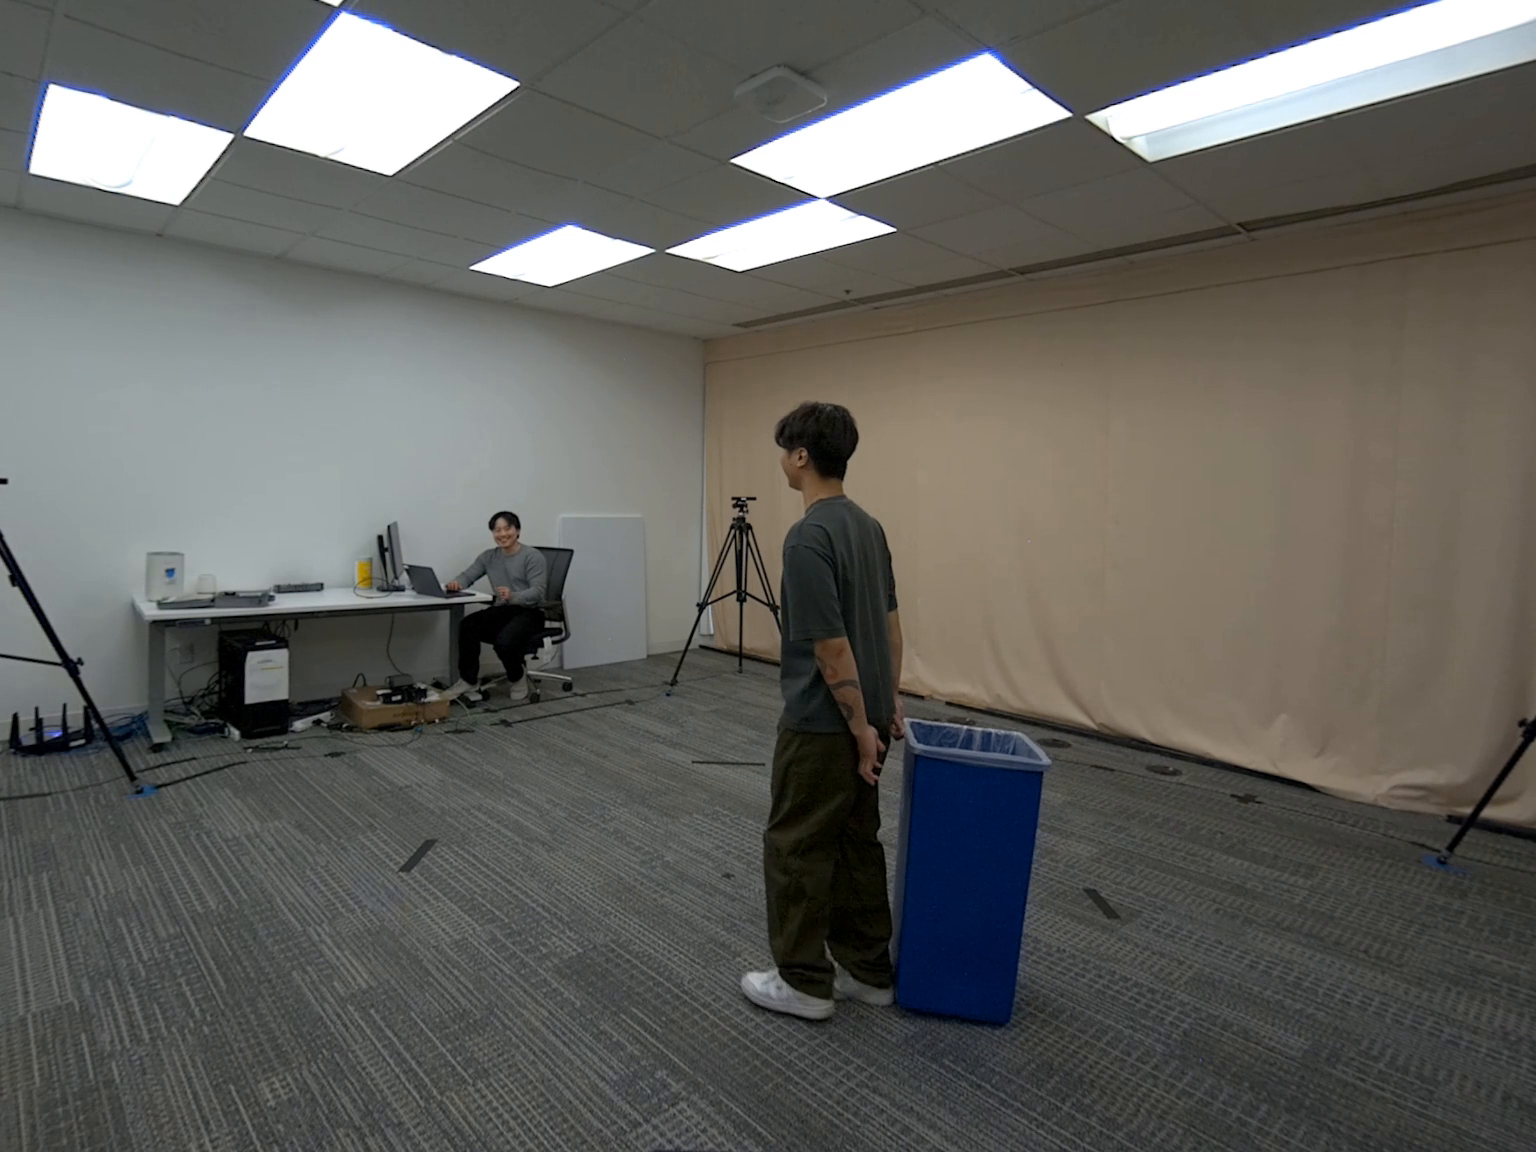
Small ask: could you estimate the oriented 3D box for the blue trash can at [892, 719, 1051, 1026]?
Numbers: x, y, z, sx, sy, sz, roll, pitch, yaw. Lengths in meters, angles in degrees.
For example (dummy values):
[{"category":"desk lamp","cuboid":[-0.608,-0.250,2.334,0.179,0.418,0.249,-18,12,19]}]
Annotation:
[{"category":"blue trash can","cuboid":[0.541,0.819,2.391,0.380,0.713,0.372,5,1,6]}]
